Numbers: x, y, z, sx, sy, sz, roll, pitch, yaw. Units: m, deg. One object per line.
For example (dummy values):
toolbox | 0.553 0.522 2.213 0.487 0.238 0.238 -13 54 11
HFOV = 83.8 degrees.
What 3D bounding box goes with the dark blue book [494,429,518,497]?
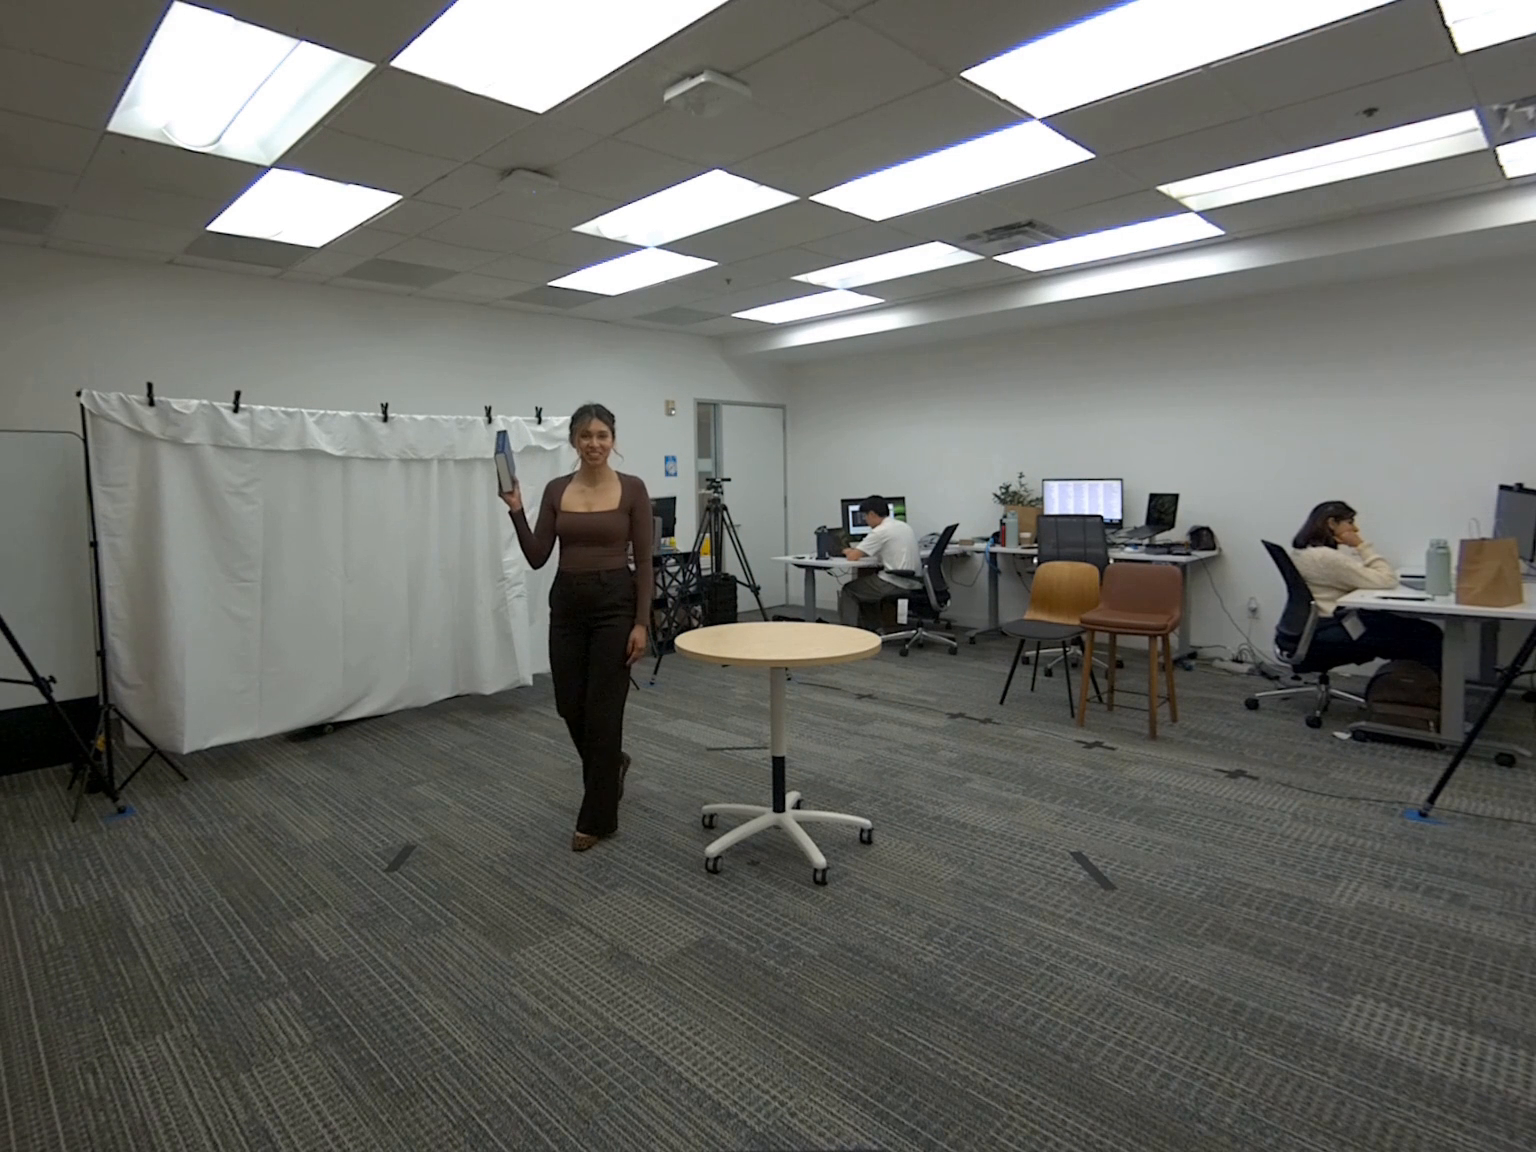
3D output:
dark blue book | -0.996 -0.438 3.269 0.045 0.159 0.252 -9 30 -3
